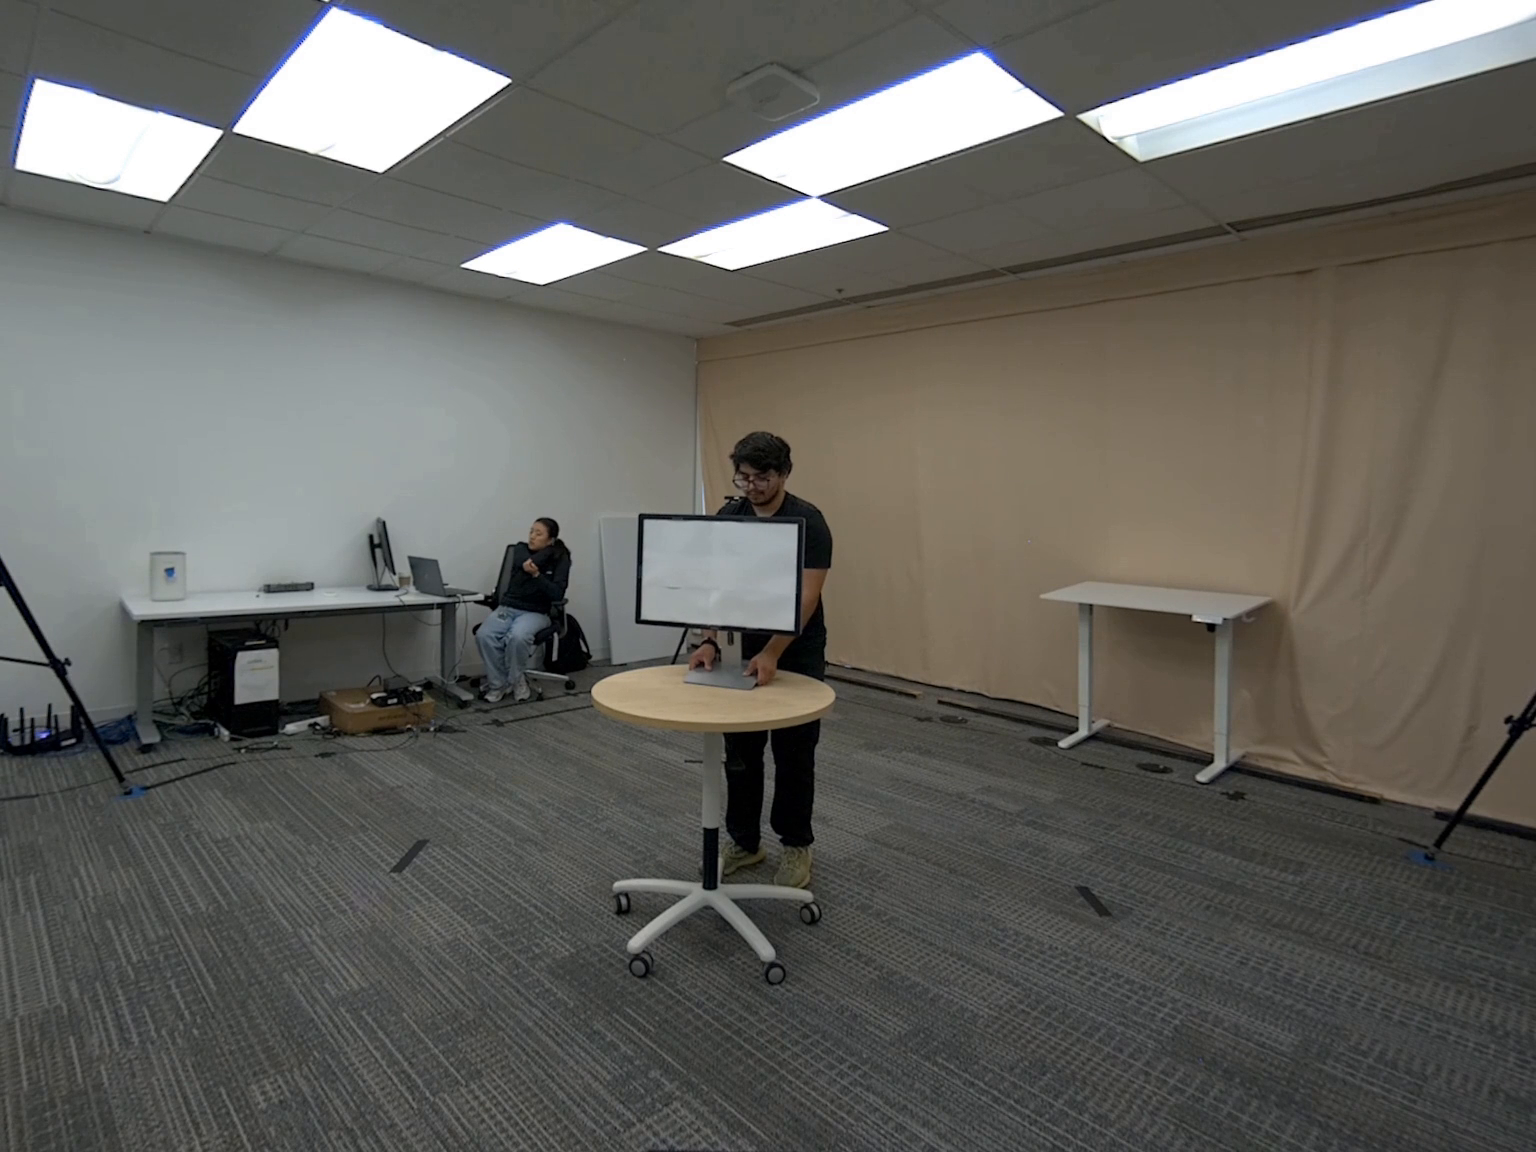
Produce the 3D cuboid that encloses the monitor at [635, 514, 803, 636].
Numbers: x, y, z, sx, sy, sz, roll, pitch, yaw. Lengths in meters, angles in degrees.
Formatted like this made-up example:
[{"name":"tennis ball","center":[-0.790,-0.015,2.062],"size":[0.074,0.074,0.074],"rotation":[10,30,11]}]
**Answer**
[{"name":"monitor","center":[-0.147,0.068,2.747],"size":[0.574,0.551,0.208],"rotation":[3,8,20]}]
